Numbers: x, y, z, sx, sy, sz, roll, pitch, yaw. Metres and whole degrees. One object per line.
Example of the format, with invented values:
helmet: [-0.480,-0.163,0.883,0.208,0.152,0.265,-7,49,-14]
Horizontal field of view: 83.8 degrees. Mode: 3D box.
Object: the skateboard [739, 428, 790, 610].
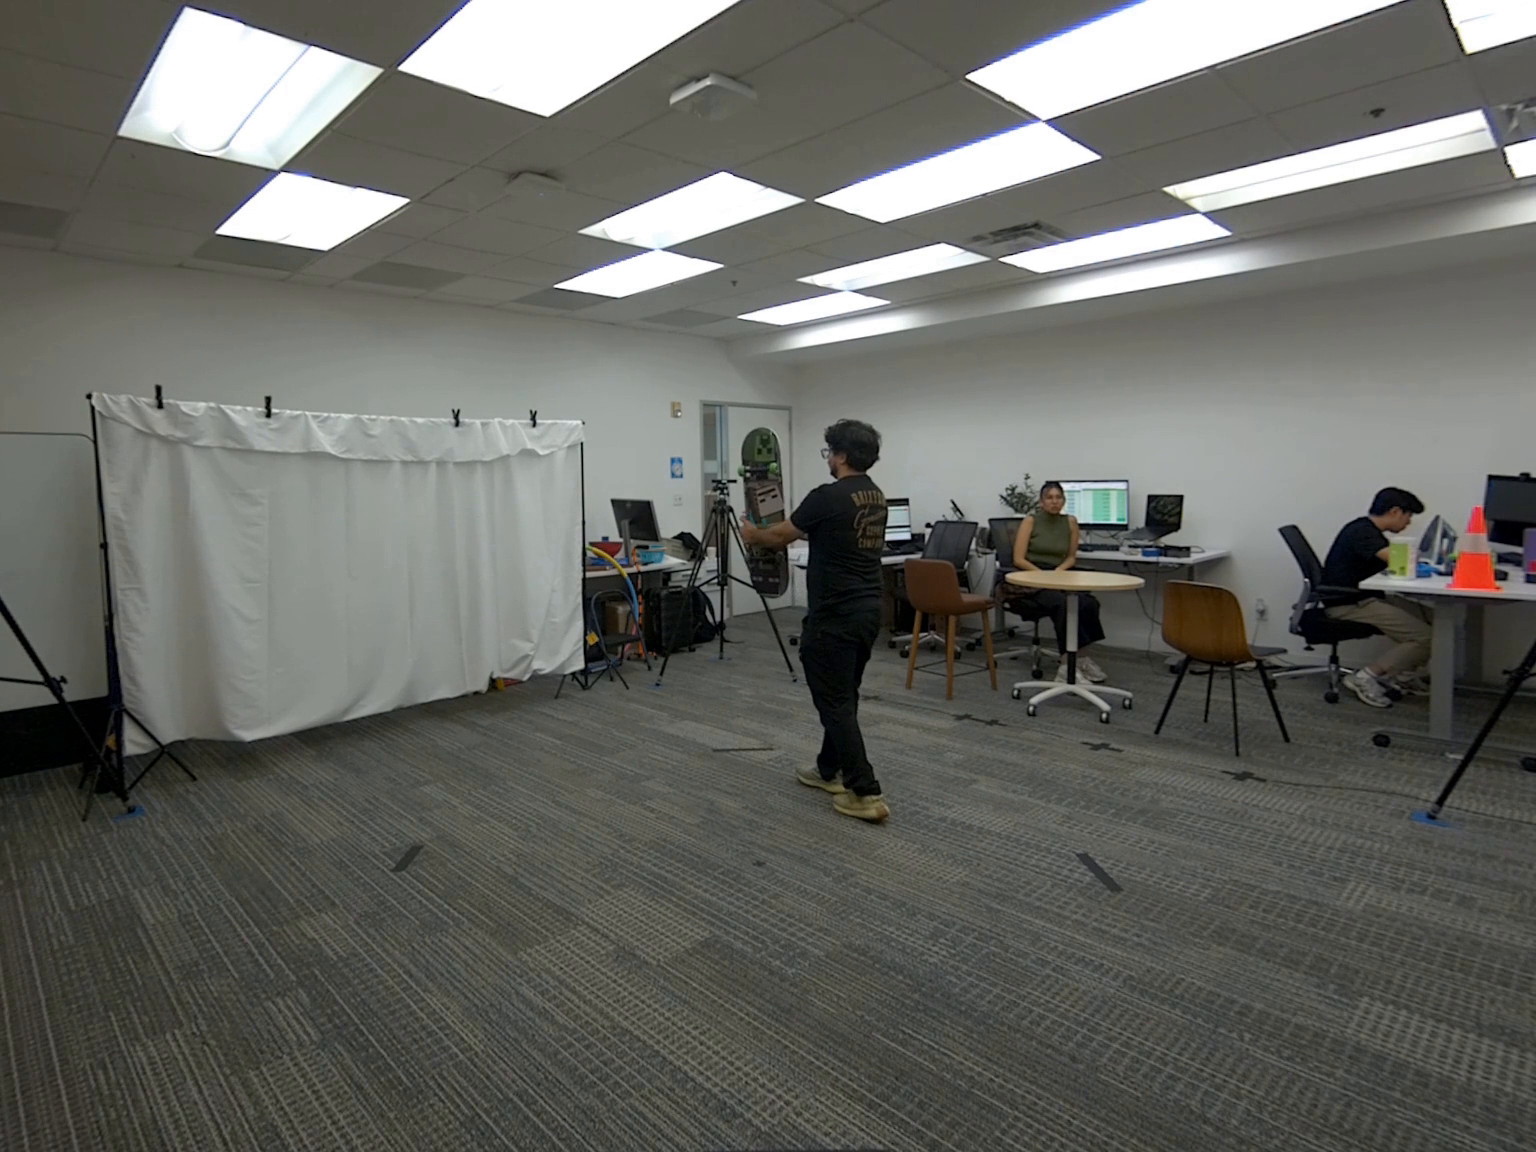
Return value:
skateboard: [-0.019,-0.280,3.882,0.197,0.783,0.108,-4,3,23]
